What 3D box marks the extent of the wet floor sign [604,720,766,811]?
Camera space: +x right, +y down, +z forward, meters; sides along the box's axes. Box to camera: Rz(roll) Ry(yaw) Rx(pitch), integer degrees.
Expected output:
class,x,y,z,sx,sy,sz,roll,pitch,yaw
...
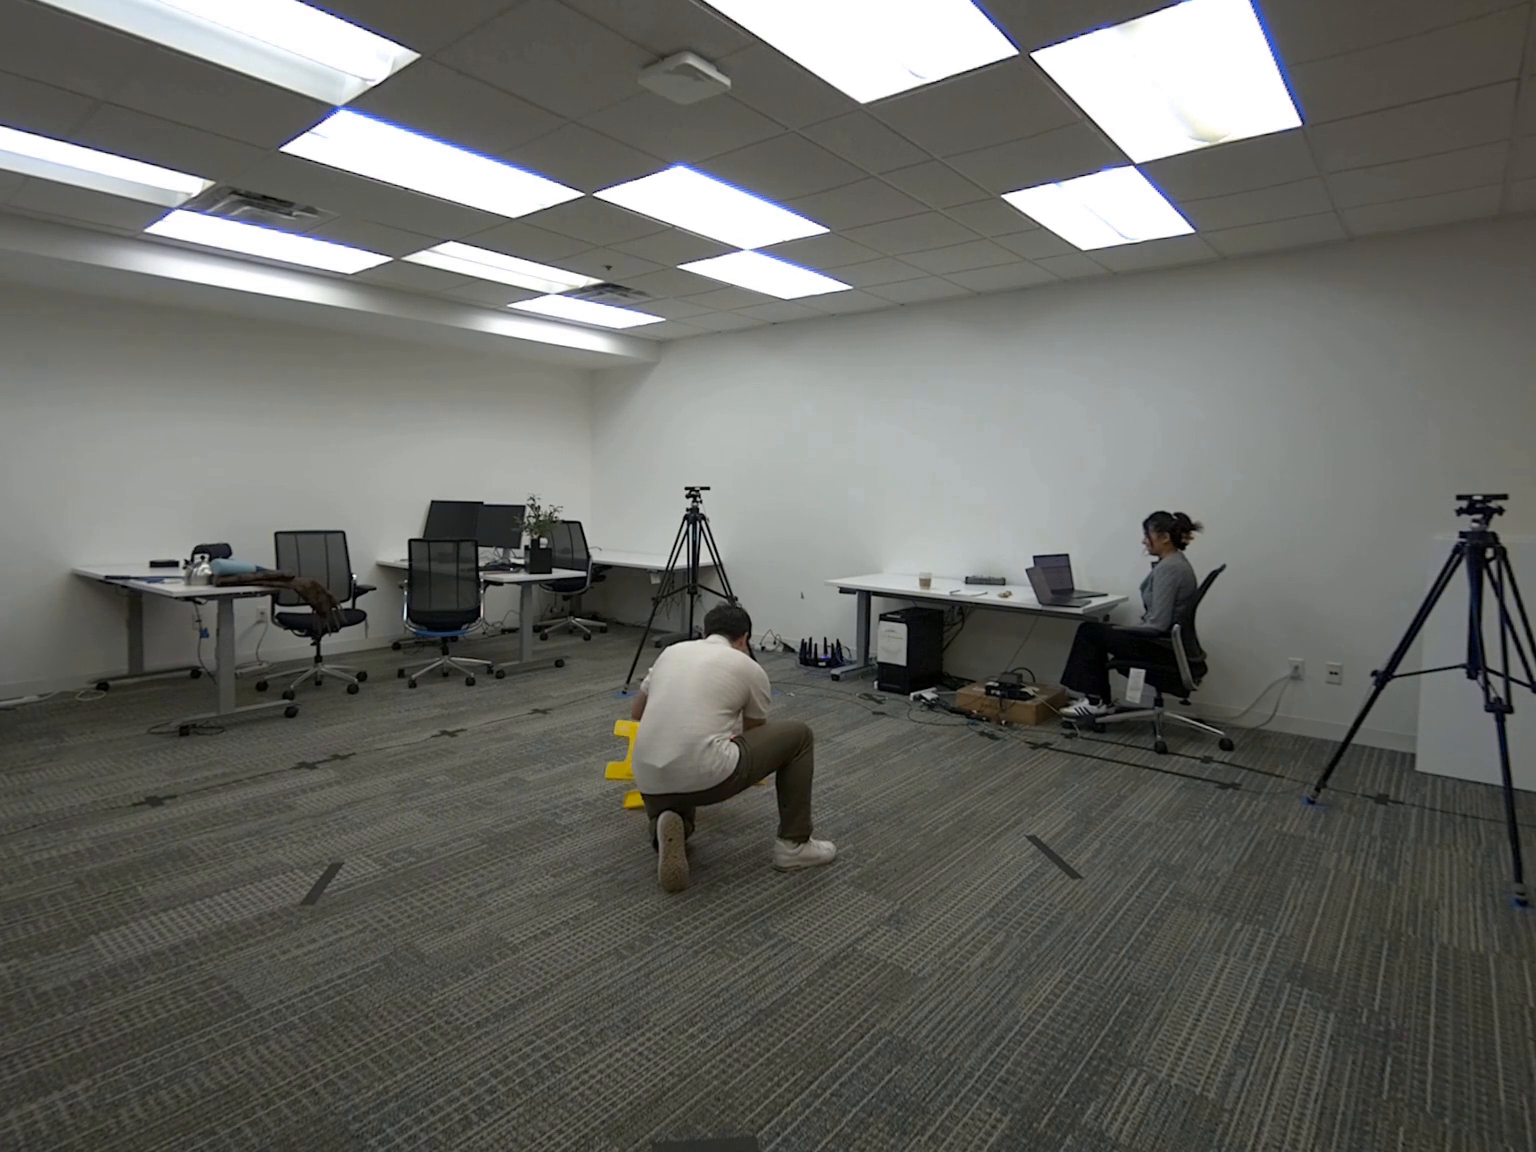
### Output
class,x,y,z,sx,sy,sz,roll,pitch,yaw
wet floor sign,-0.335,0.795,3.613,0.654,0.279,0.289,-5,46,12
